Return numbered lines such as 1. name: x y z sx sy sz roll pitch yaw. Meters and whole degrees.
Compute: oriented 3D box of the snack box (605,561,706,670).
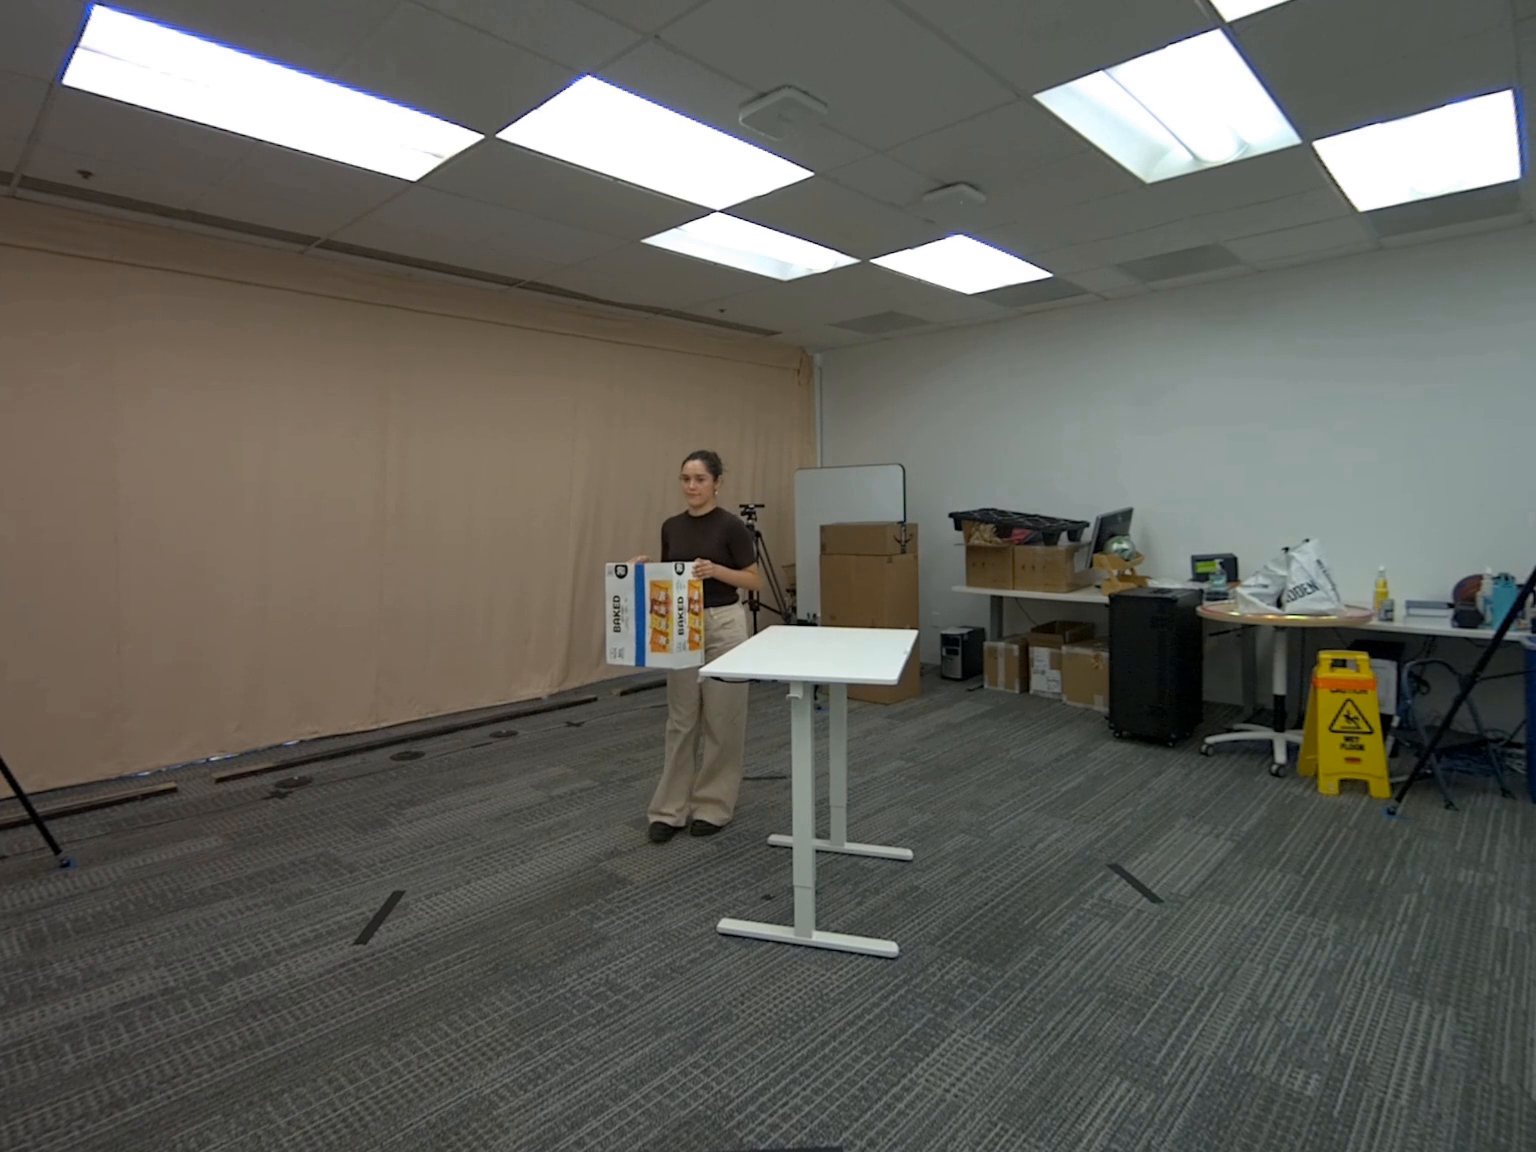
1. snack box: -0.452 0.151 3.355 0.350 0.405 0.199 -1 -1 33
